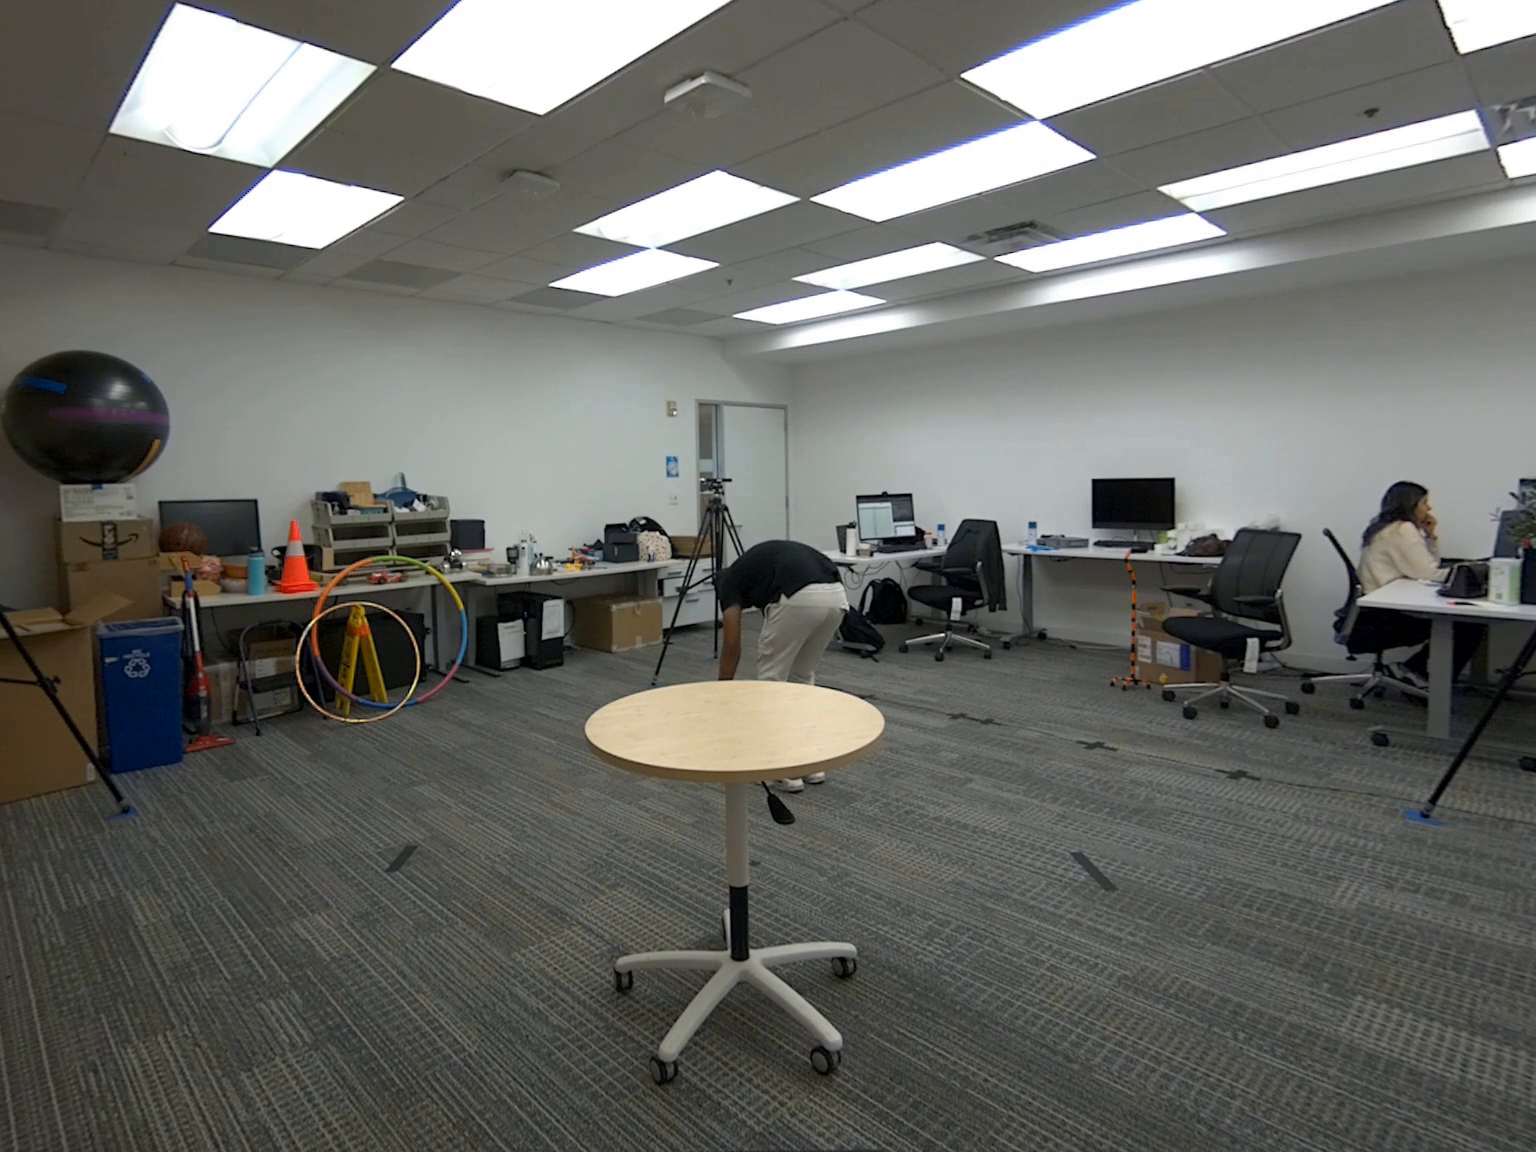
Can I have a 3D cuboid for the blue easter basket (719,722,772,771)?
[{"bbox_3d":[-0.119,0.842,4.257,0.243,0.155,0.245,-3,6,-1],"label":"blue easter basket"}]
